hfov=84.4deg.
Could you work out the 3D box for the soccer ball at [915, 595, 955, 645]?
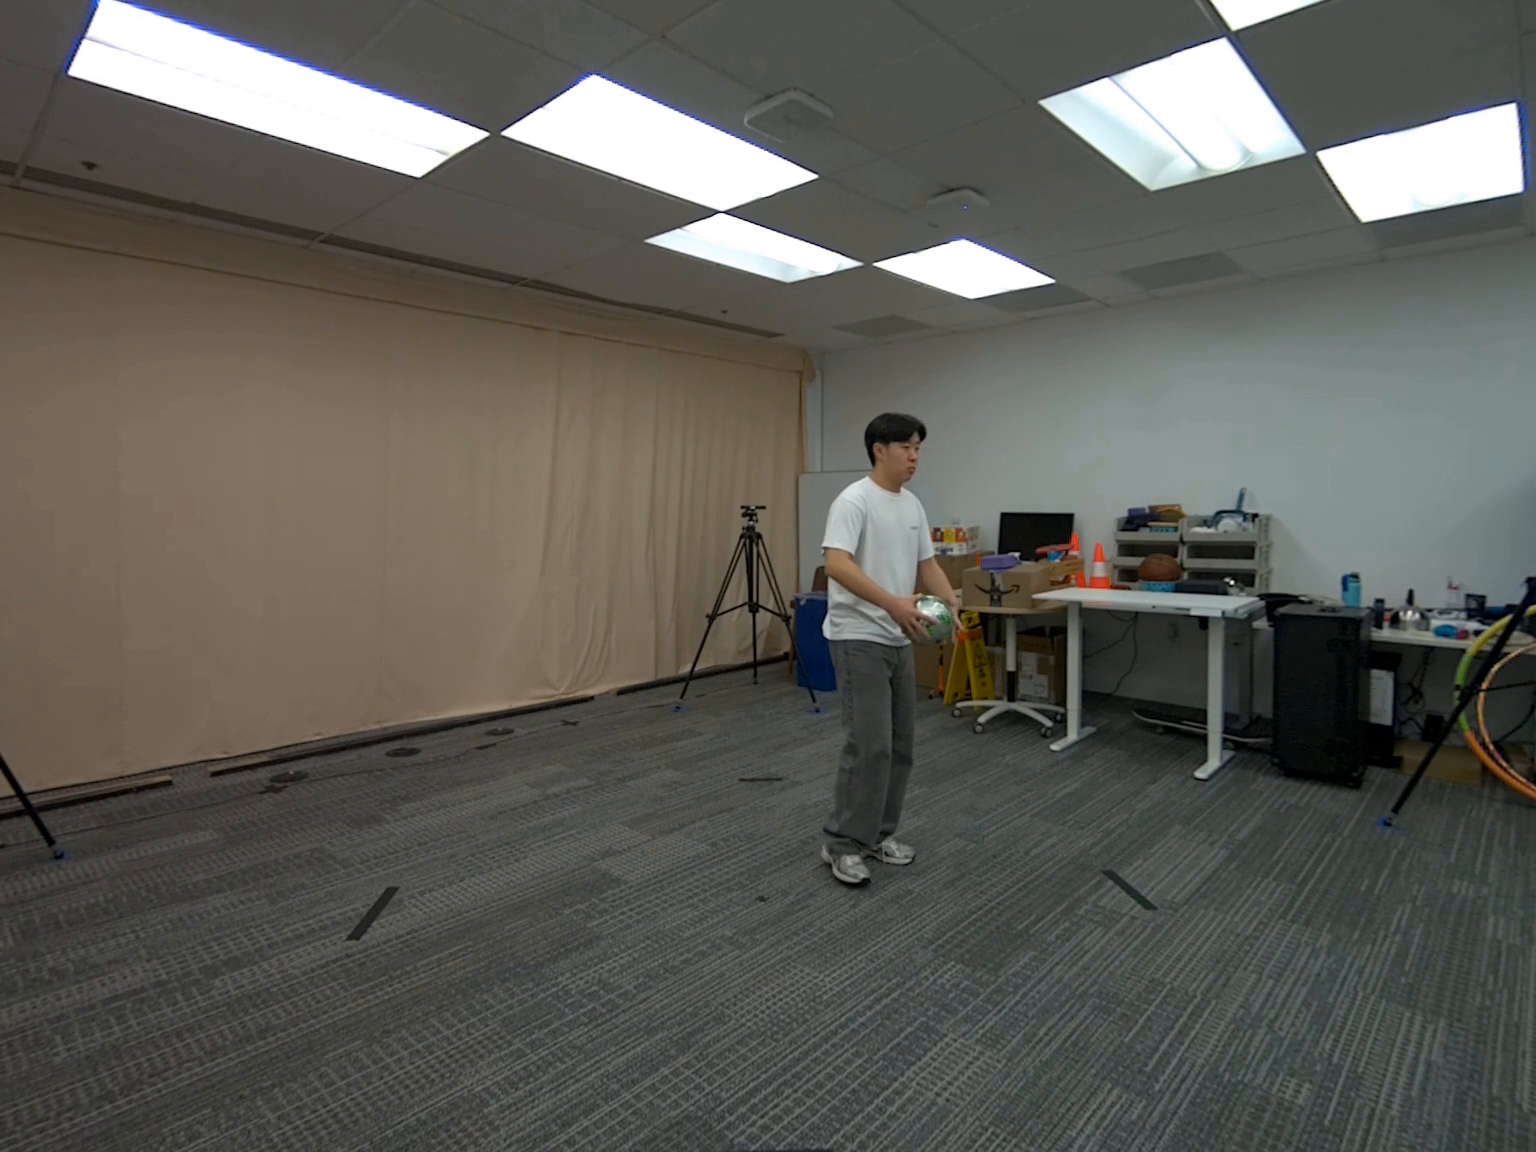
[{"bbox_3d":[0.564,0.167,3.049,0.187,0.187,0.188,0,4,-2],"label":"soccer ball"}]
